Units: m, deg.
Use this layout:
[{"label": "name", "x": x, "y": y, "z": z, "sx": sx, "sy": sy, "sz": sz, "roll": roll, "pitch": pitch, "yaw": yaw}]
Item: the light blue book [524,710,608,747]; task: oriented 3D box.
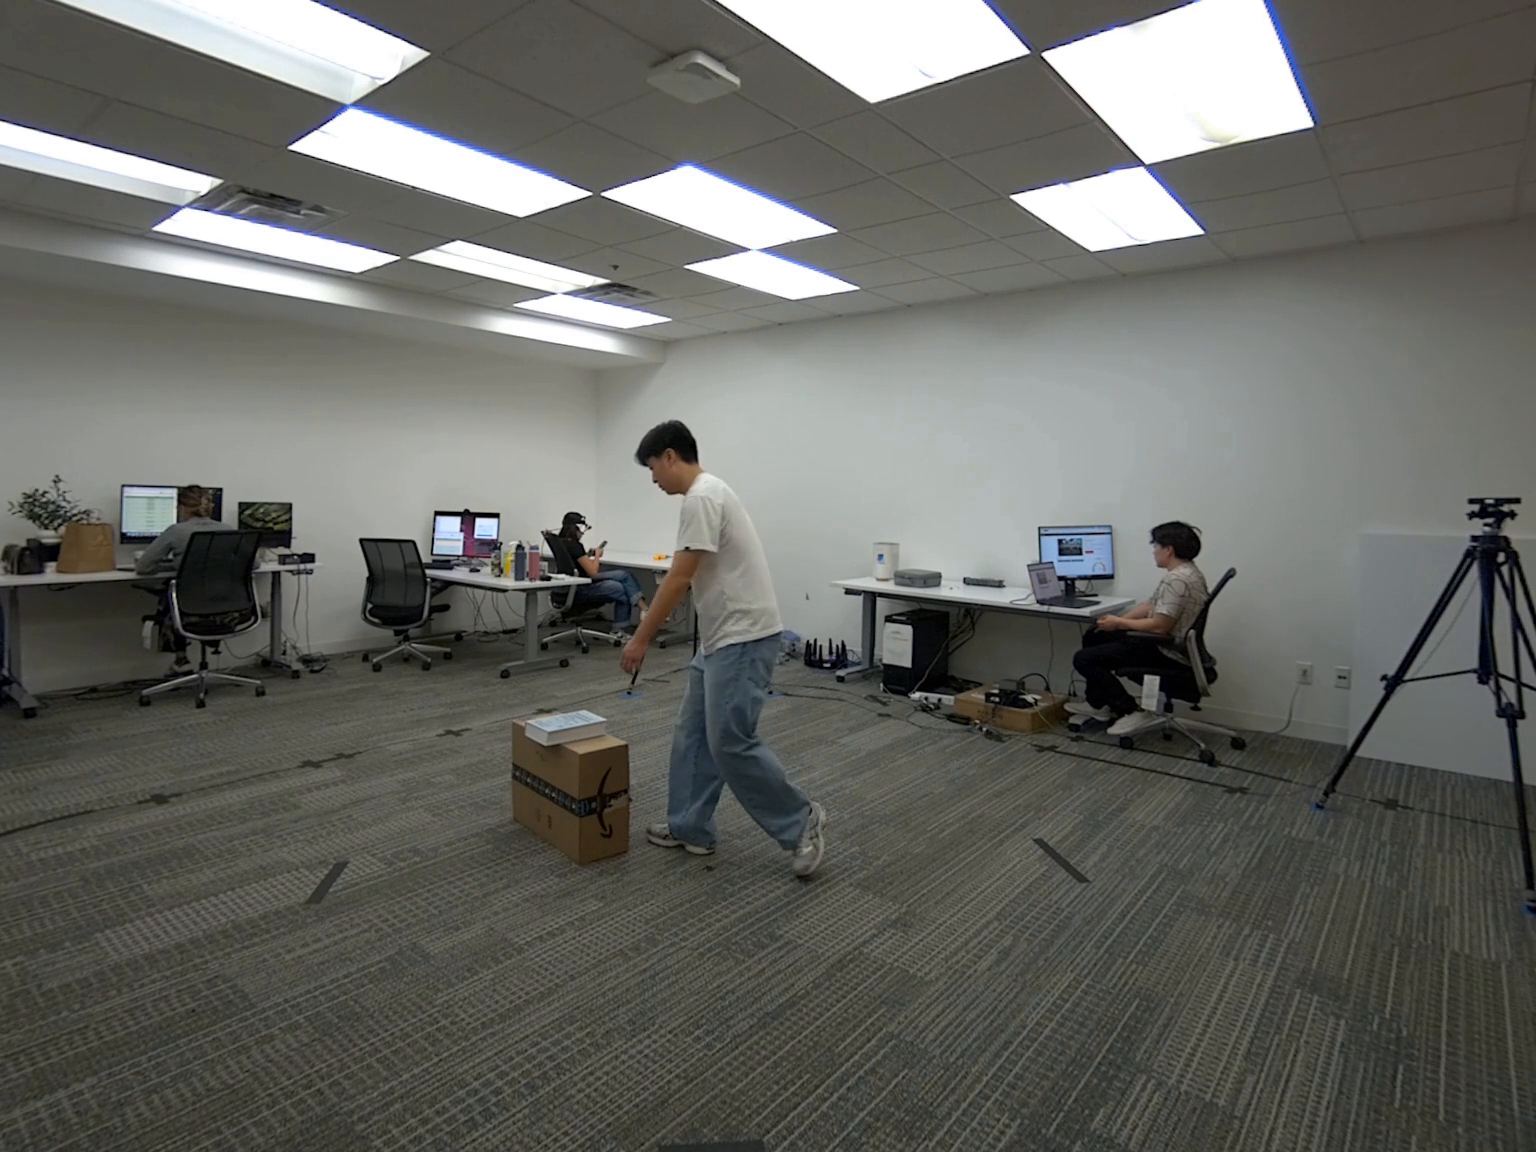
[{"label": "light blue book", "x": -0.808, "y": 0.590, "z": 3.341, "sx": 0.253, "sy": 0.059, "sz": 0.198, "roll": -5, "pitch": 9, "yaw": -40}]
